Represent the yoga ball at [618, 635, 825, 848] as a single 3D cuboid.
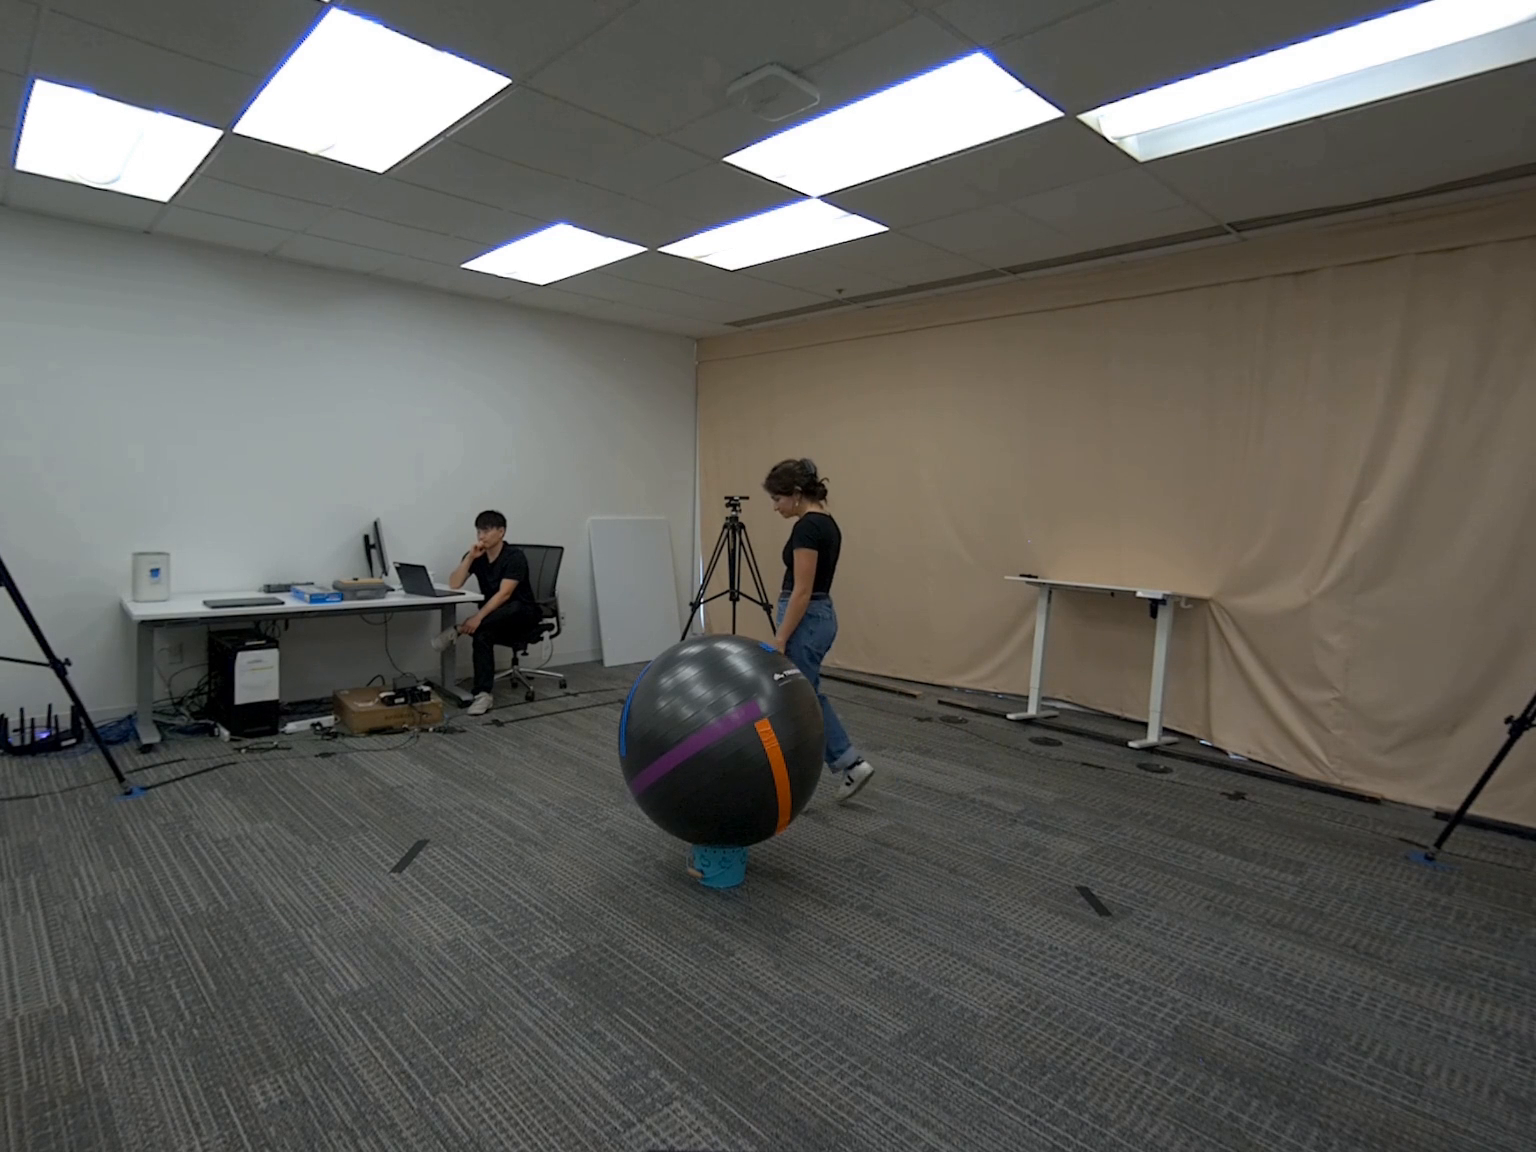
[{"bbox_3d":[-0.172,0.593,3.066,0.757,0.756,0.760,1,4,-1],"label":"yoga ball"}]
